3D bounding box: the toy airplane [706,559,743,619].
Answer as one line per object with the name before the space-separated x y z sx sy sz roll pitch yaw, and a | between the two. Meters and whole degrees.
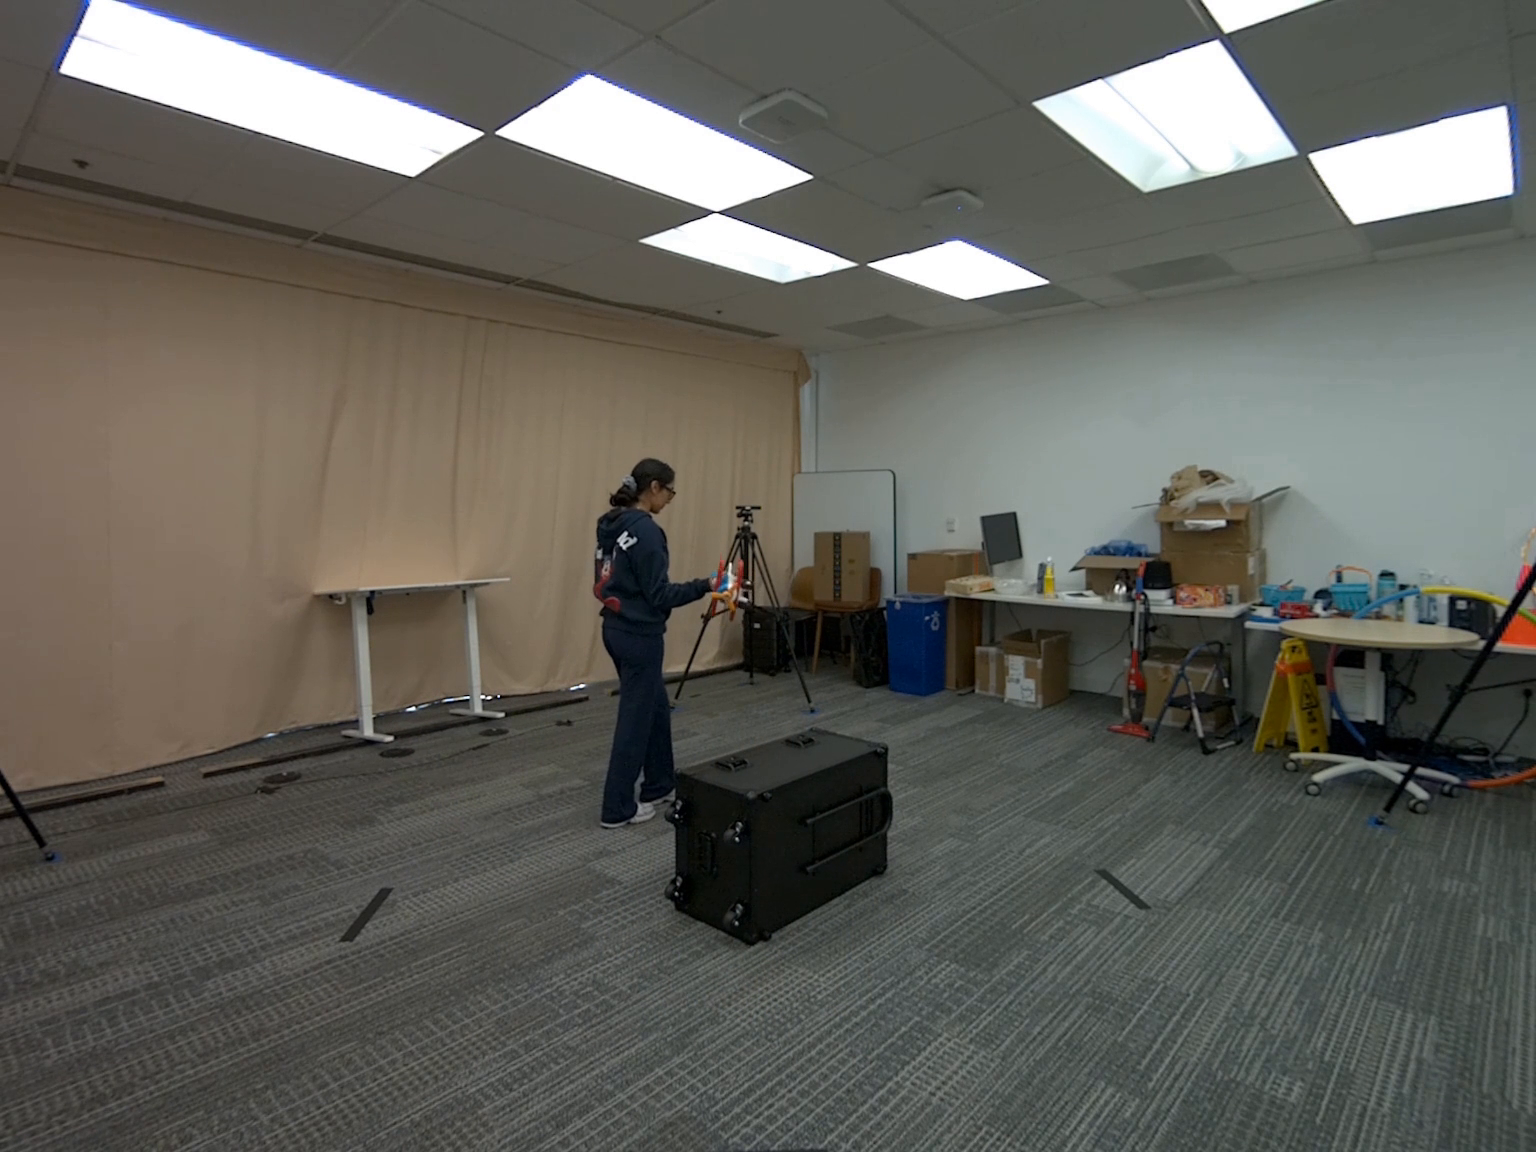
toy airplane | -0.148 0.054 3.475 0.154 0.253 0.261 7 -13 -15
